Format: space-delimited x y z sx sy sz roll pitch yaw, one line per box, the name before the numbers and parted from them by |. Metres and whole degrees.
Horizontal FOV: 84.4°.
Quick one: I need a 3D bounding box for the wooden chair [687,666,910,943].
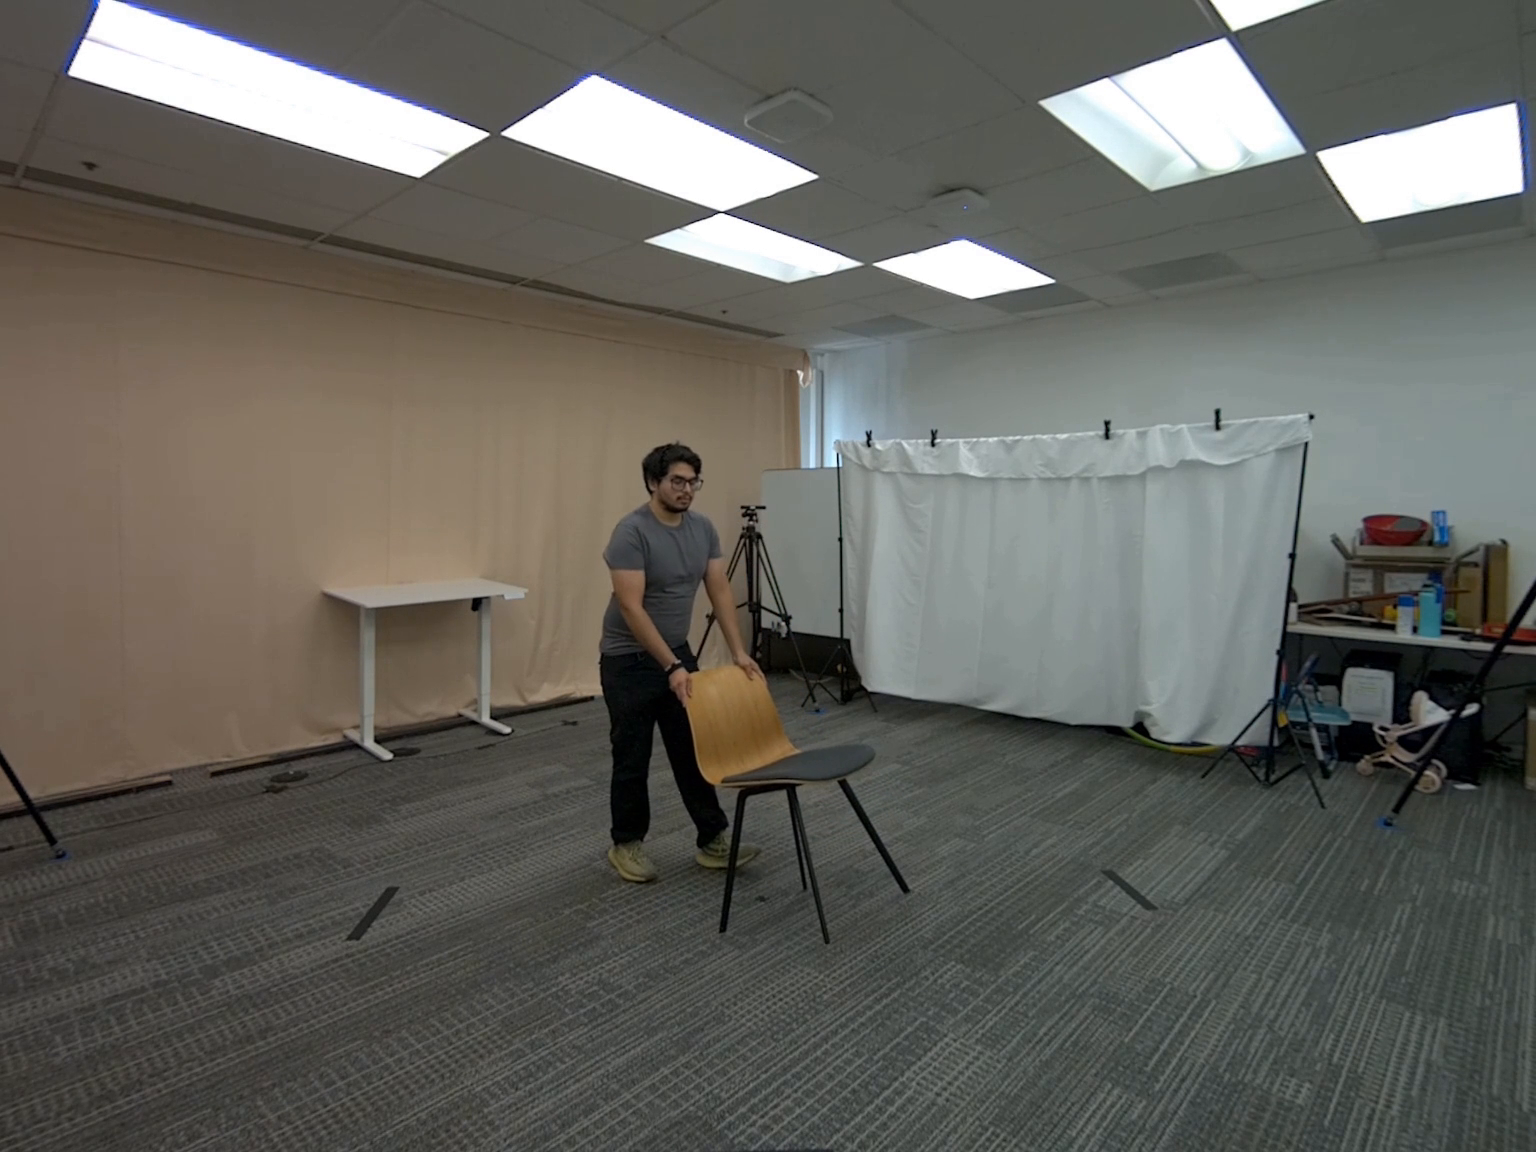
wooden chair | 0.074 0.683 2.799 0.534 0.886 0.463 -24 -14 40
